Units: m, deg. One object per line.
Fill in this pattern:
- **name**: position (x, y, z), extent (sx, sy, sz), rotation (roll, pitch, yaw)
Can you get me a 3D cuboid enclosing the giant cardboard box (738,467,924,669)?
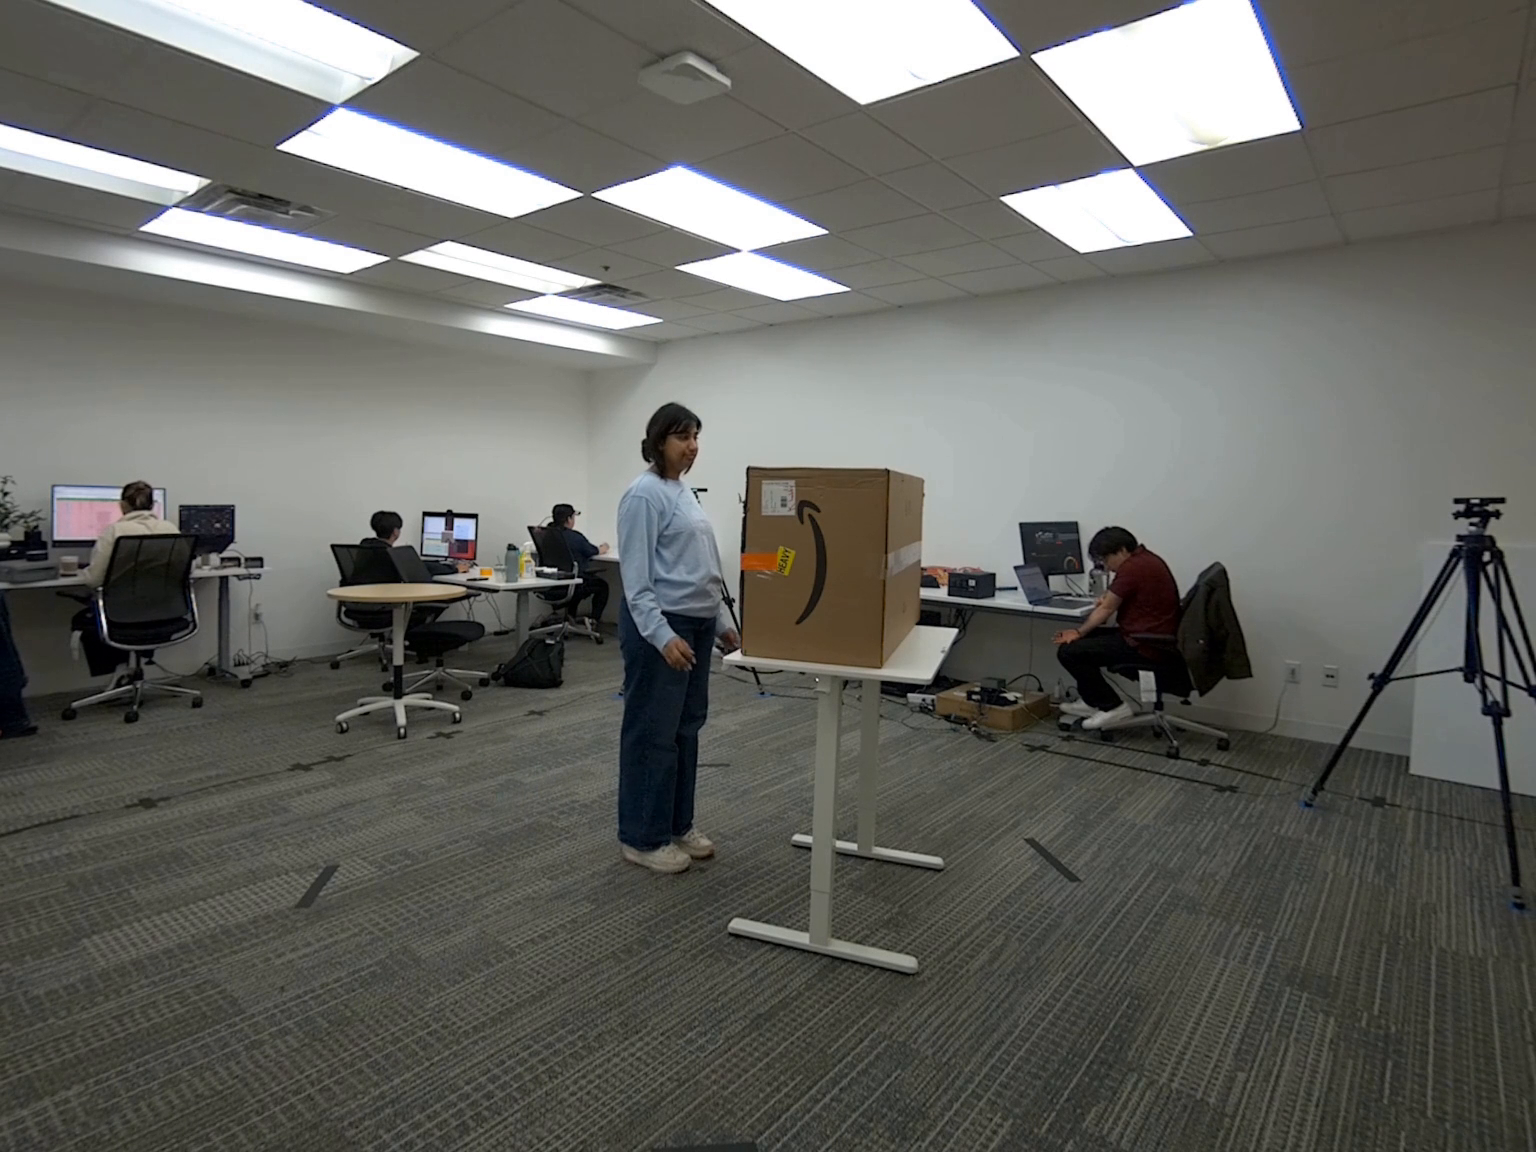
- **giant cardboard box**: position (0.262, -0.073, 2.950), extent (0.435, 0.575, 1.009), rotation (2, 5, 17)
